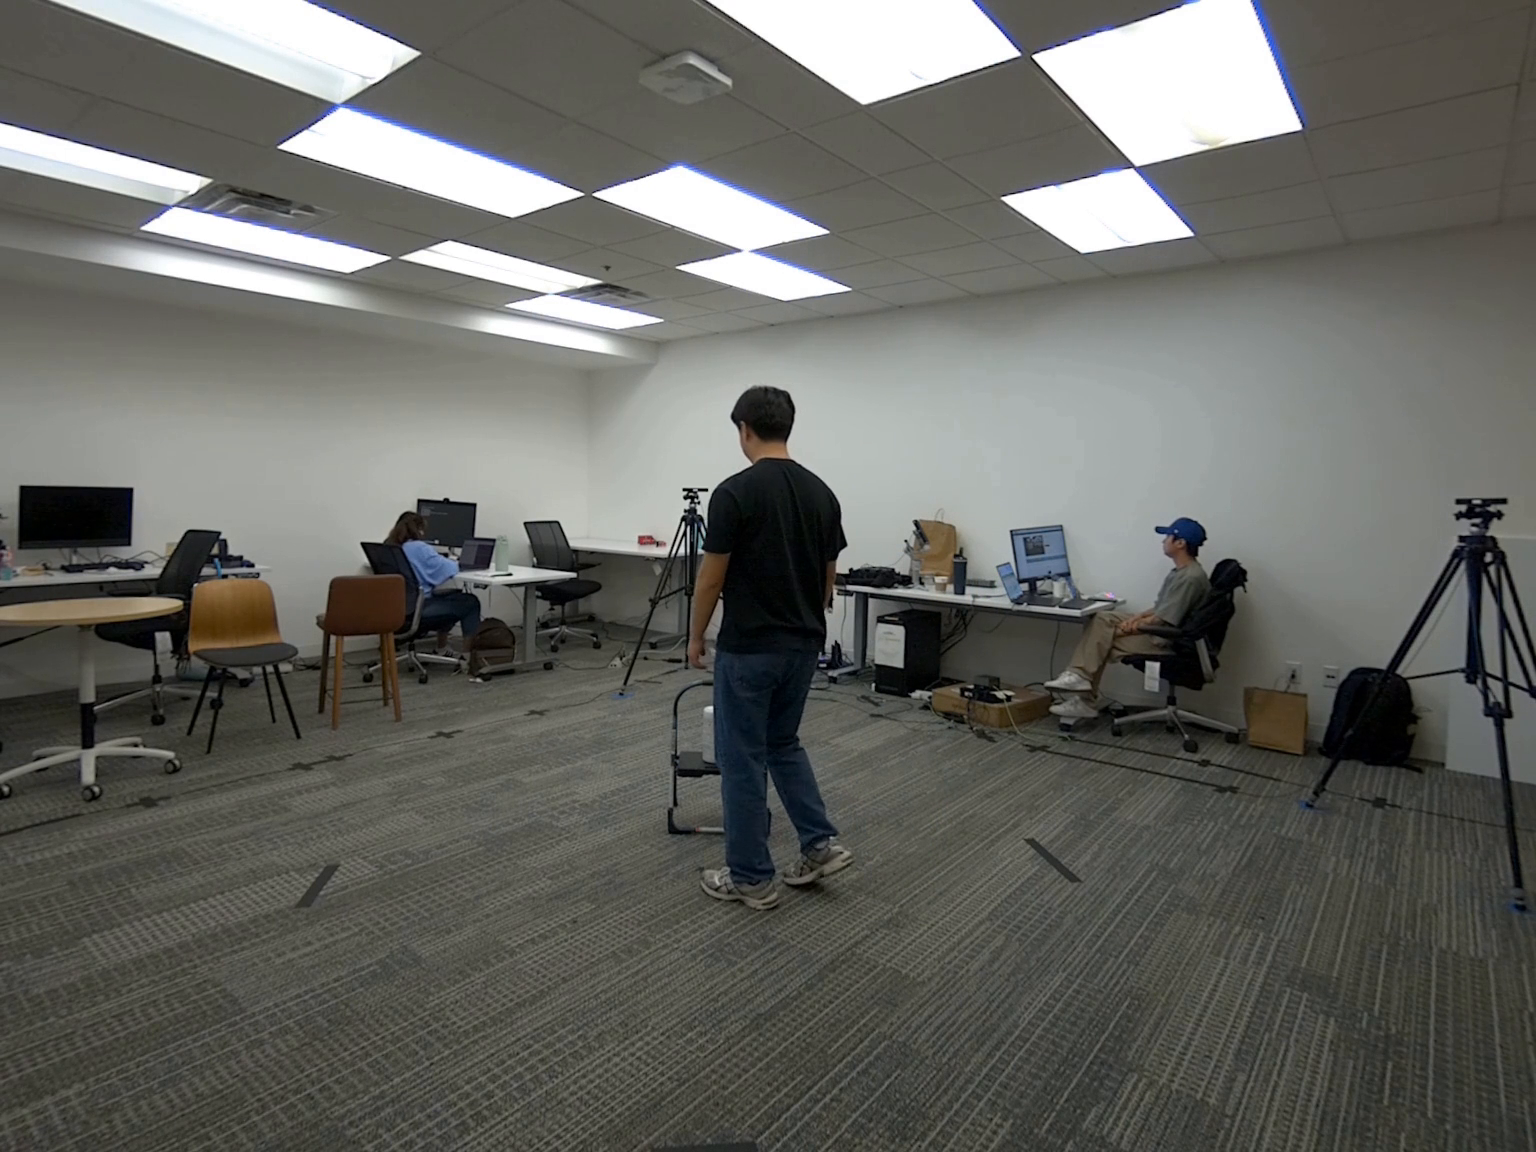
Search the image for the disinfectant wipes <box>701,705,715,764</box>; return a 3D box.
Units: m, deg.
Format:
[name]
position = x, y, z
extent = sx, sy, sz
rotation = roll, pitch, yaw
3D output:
[disinfectant wipes]
position = -0.228, 0.657, 3.543
extent = 0.118, 0.217, 0.118
rotation = 3, 1, -2
